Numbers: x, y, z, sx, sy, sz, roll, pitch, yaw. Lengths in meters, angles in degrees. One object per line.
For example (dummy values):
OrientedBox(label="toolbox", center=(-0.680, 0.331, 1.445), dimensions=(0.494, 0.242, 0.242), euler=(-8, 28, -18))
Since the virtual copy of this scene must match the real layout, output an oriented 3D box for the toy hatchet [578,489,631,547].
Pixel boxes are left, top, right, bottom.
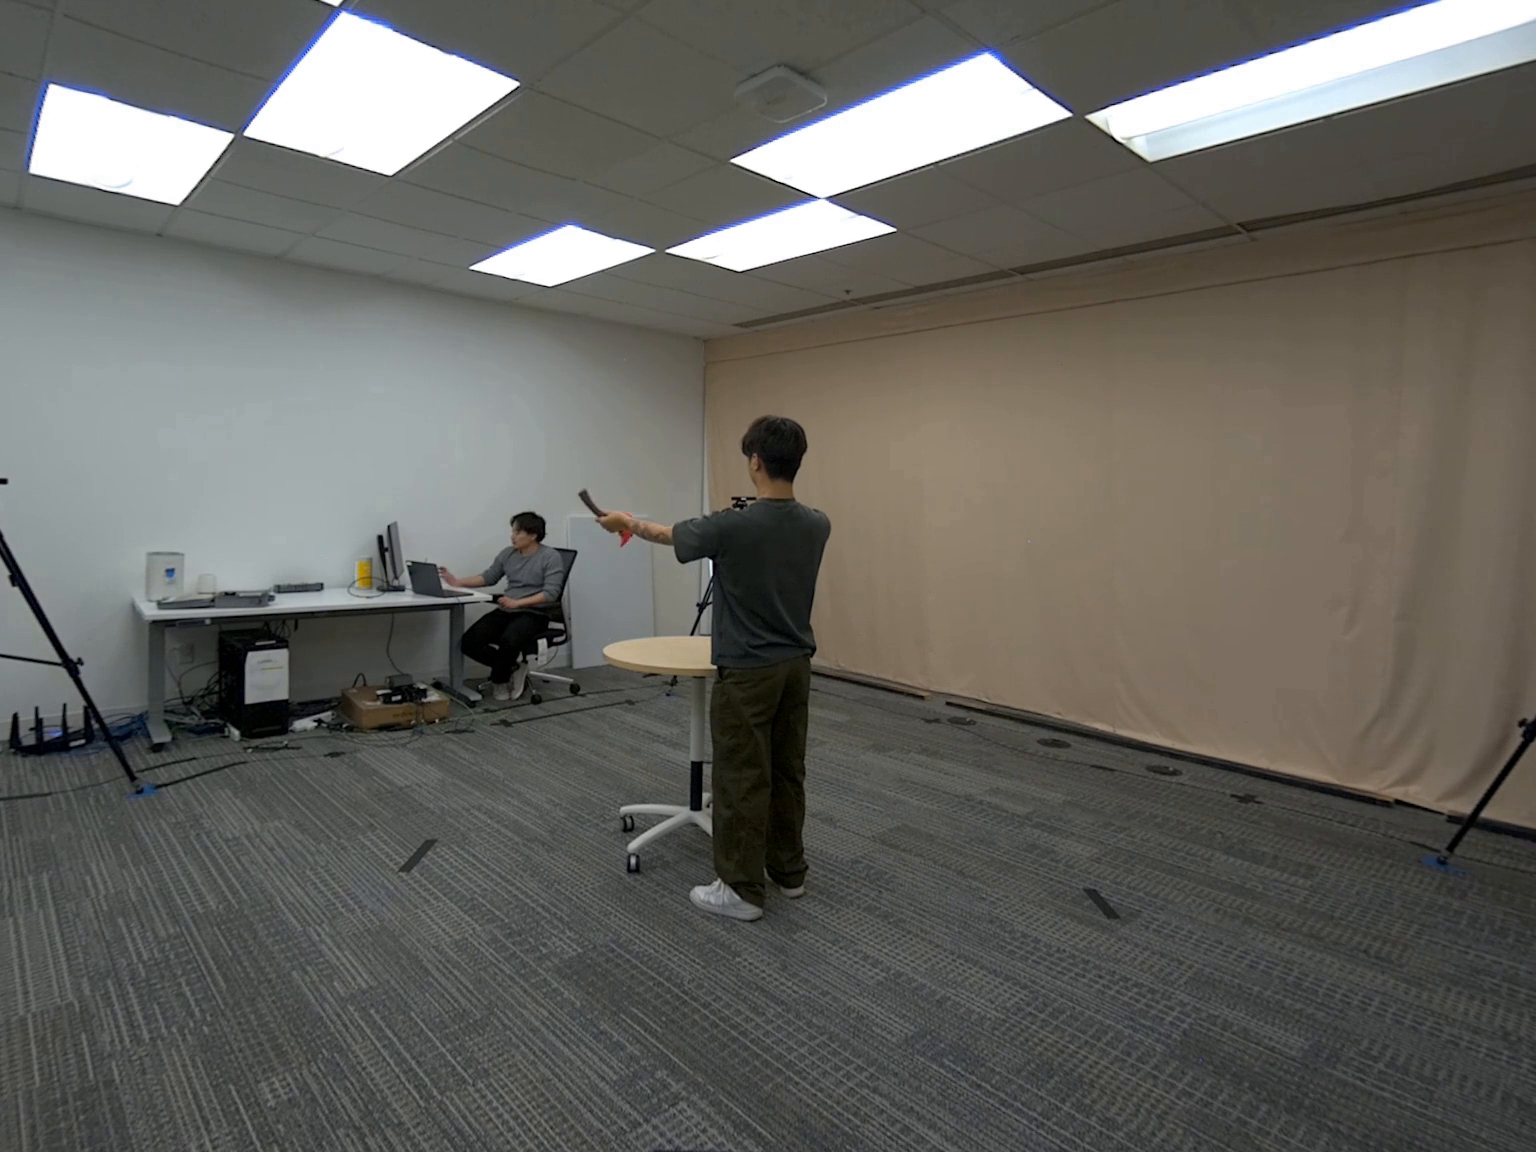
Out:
OrientedBox(label="toy hatchet", center=(-0.586, -0.243, 3.133), dimensions=(0.030, 0.264, 0.131), euler=(-9, 36, 48))
